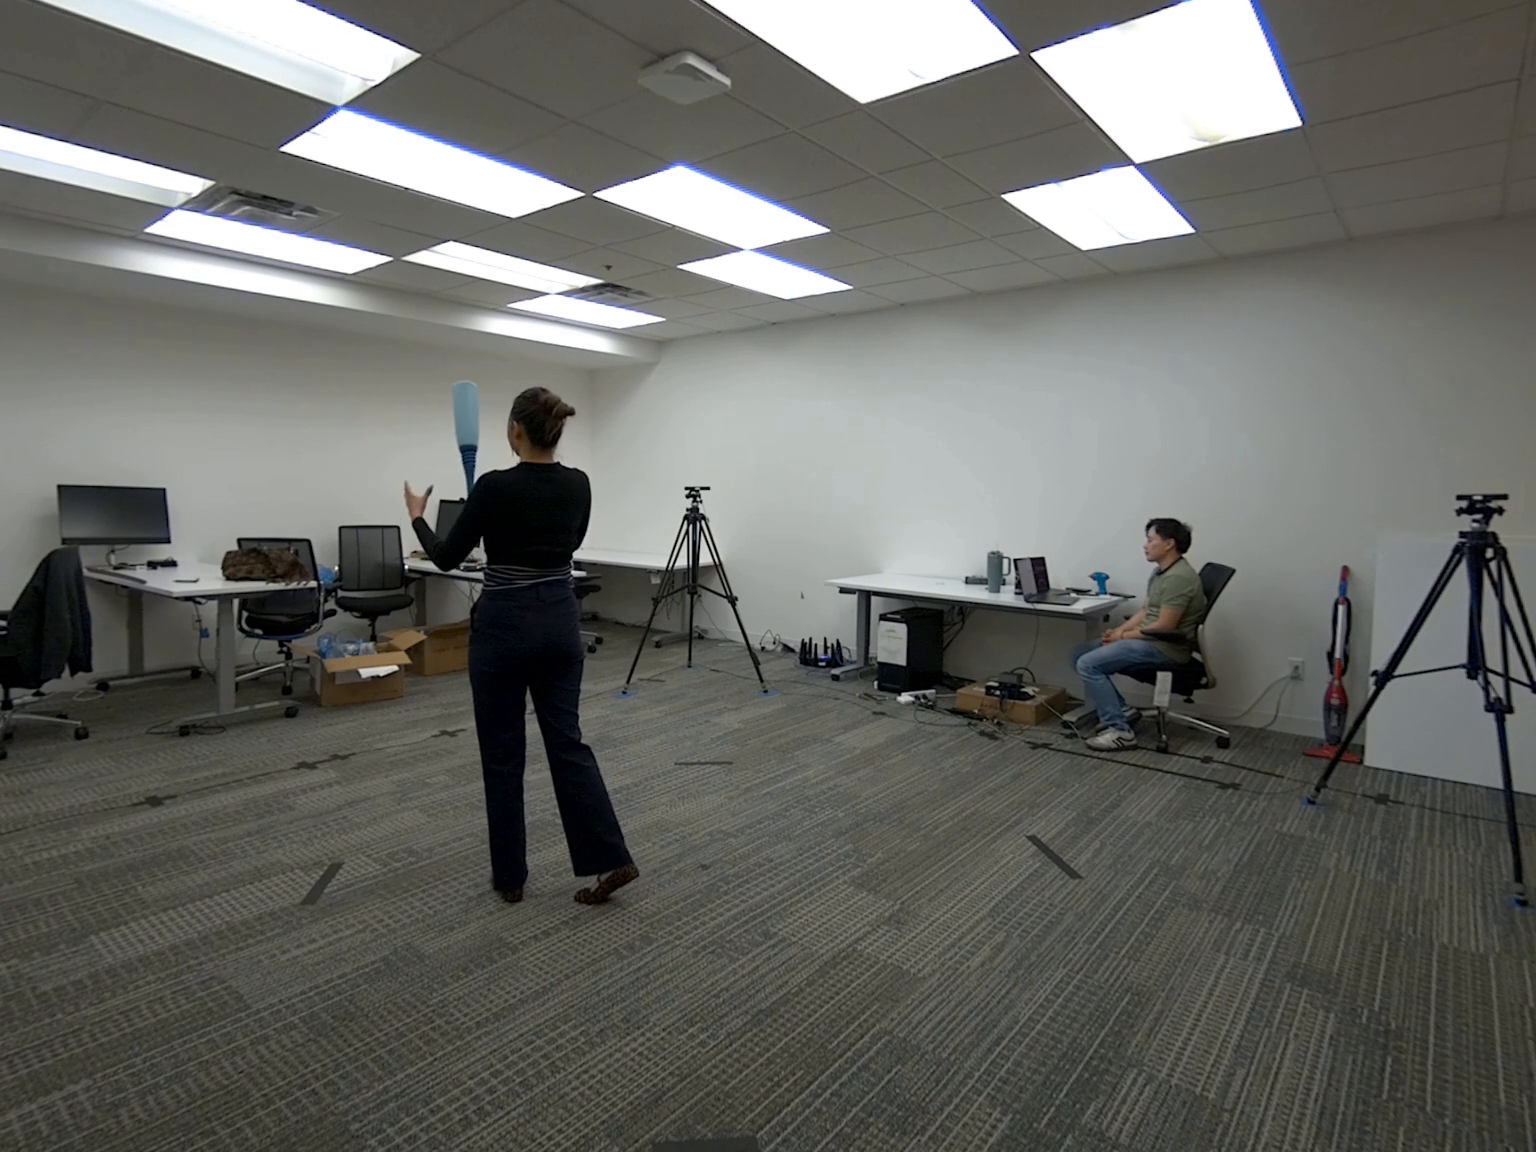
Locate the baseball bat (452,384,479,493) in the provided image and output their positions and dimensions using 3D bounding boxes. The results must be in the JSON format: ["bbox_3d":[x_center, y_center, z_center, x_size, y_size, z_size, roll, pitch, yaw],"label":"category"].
[{"bbox_3d":[-1.100,-0.403,3.097,0.089,0.551,0.088,-8,-13,-3],"label":"baseball bat"}]
